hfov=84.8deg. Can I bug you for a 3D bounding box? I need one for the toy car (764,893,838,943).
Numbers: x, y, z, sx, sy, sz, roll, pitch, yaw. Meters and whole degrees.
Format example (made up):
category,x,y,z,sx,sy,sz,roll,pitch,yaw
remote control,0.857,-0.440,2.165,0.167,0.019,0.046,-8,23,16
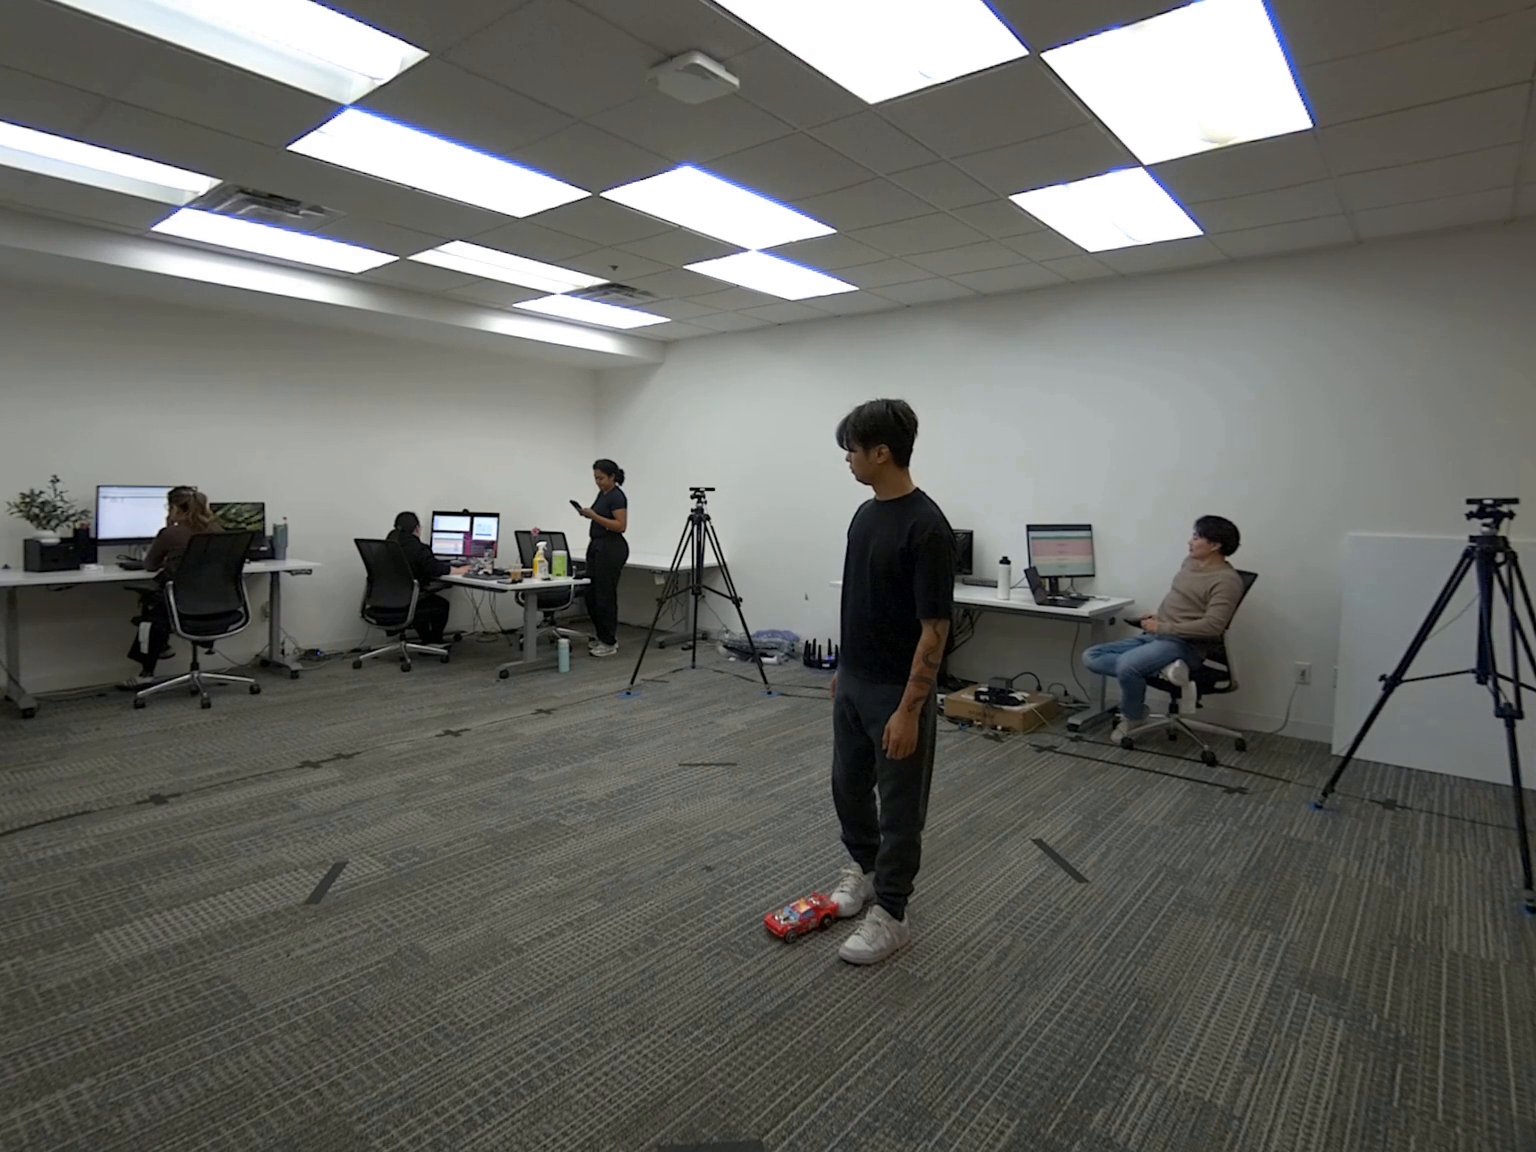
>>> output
category,x,y,z,sx,sy,sz,roll,pitch,yaw
toy car,0.104,1.079,2.699,0.249,0.082,0.135,-16,15,-32
